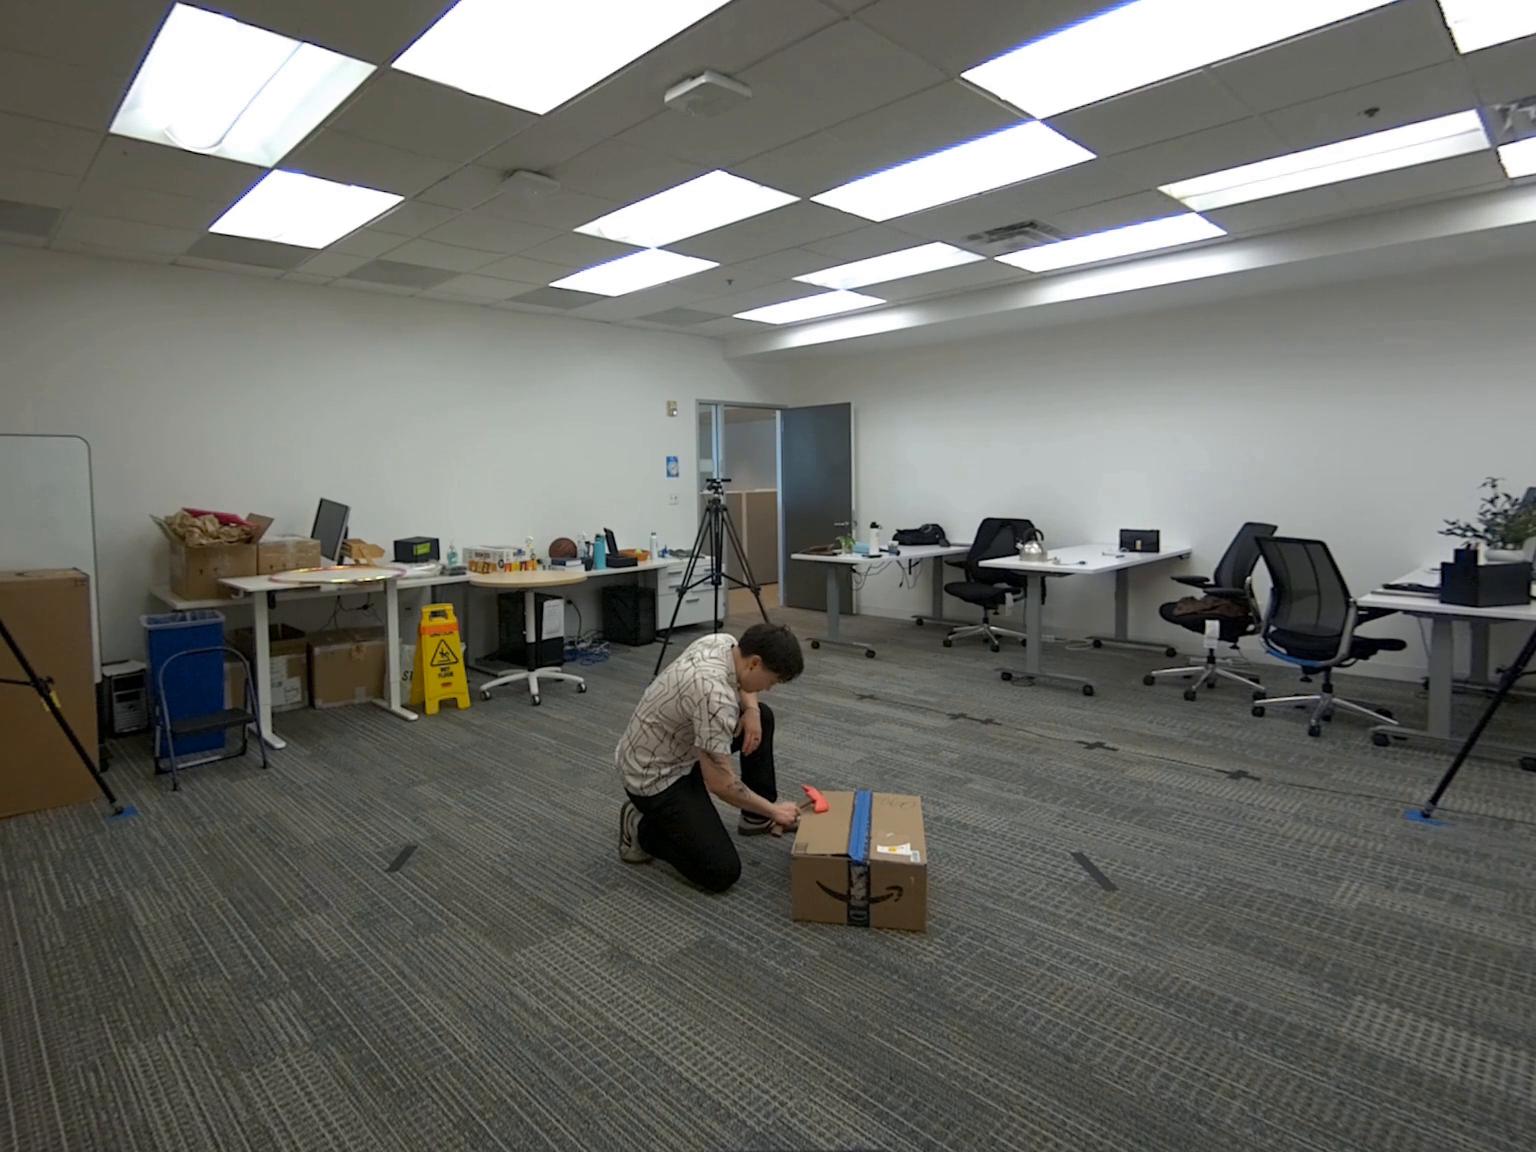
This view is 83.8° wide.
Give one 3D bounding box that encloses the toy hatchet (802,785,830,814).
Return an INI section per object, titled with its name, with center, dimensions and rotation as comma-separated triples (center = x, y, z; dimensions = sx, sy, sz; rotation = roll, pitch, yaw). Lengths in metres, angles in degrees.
[toy hatchet]
center = 0.119, 0.831, 2.993
dimensions = 0.134, 0.029, 0.269
rotation = 22, 35, 19
